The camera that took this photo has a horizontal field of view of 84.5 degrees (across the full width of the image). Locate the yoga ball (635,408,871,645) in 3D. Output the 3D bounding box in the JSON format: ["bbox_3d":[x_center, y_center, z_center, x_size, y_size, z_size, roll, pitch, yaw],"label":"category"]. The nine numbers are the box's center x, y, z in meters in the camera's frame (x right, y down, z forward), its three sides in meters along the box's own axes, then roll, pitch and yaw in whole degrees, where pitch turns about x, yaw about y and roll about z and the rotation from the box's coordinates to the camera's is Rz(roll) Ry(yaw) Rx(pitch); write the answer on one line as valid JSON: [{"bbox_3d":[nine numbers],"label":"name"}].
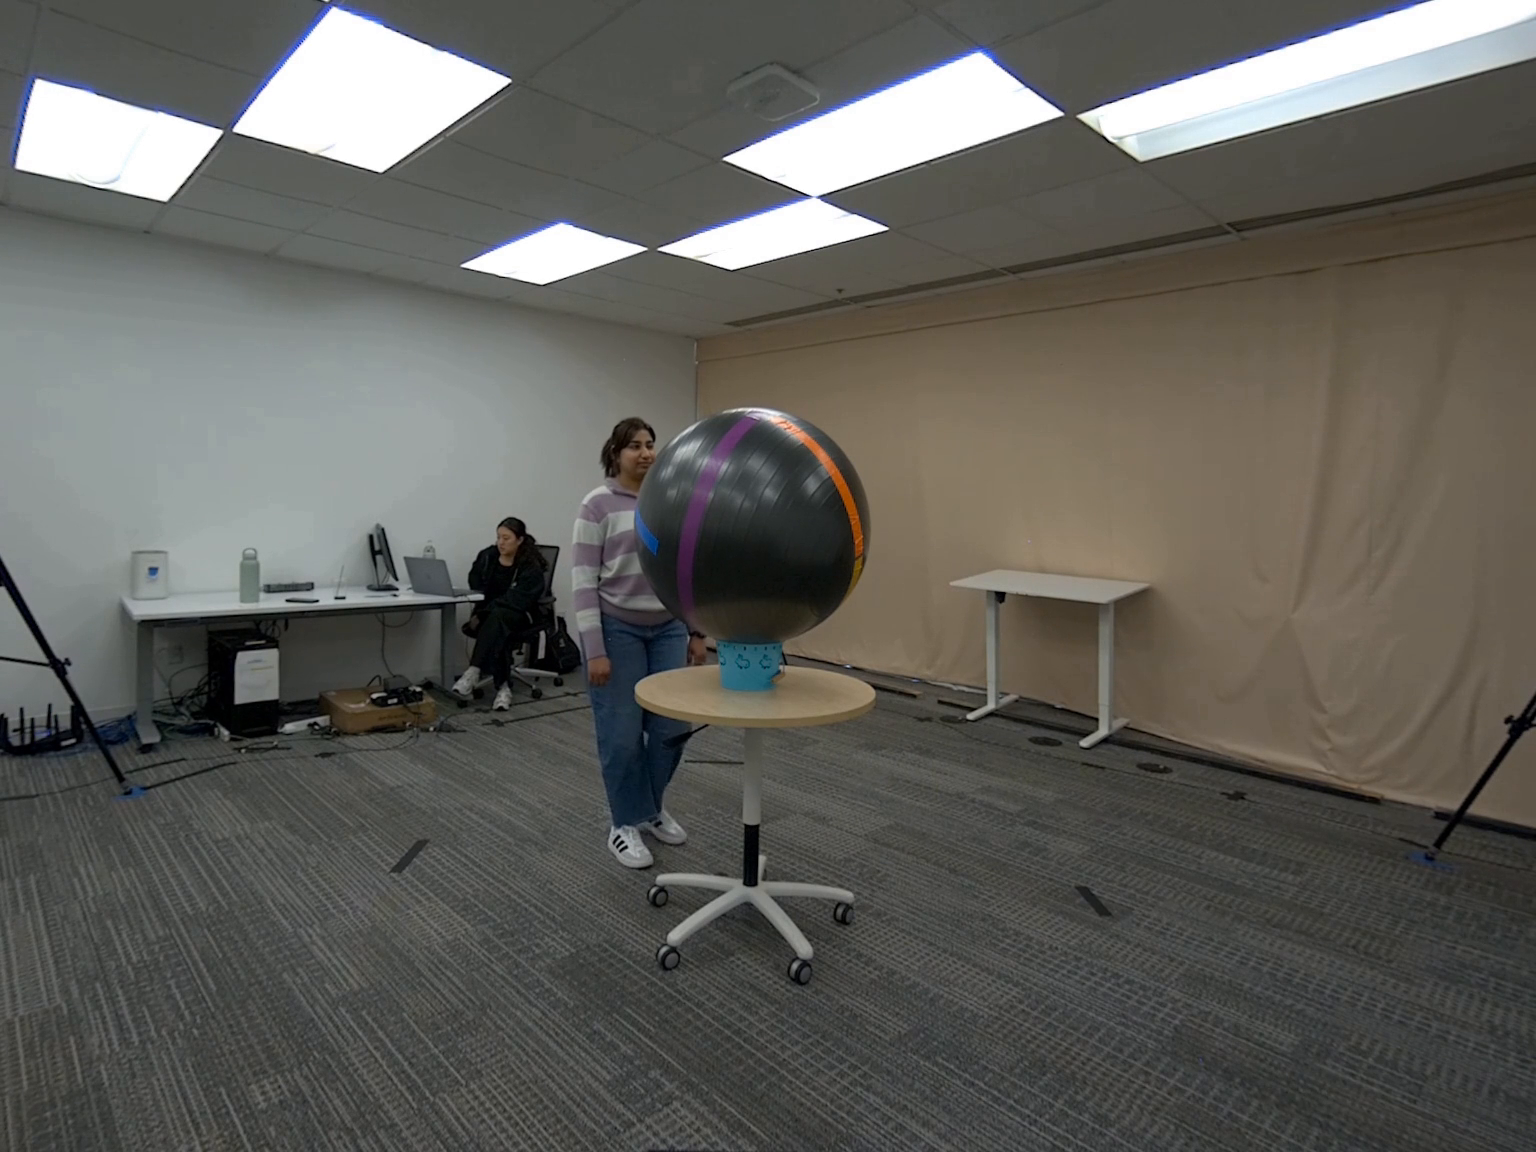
[{"bbox_3d":[-0.050,-0.153,2.710,0.757,0.756,0.761,1,4,-1],"label":"yoga ball"}]
